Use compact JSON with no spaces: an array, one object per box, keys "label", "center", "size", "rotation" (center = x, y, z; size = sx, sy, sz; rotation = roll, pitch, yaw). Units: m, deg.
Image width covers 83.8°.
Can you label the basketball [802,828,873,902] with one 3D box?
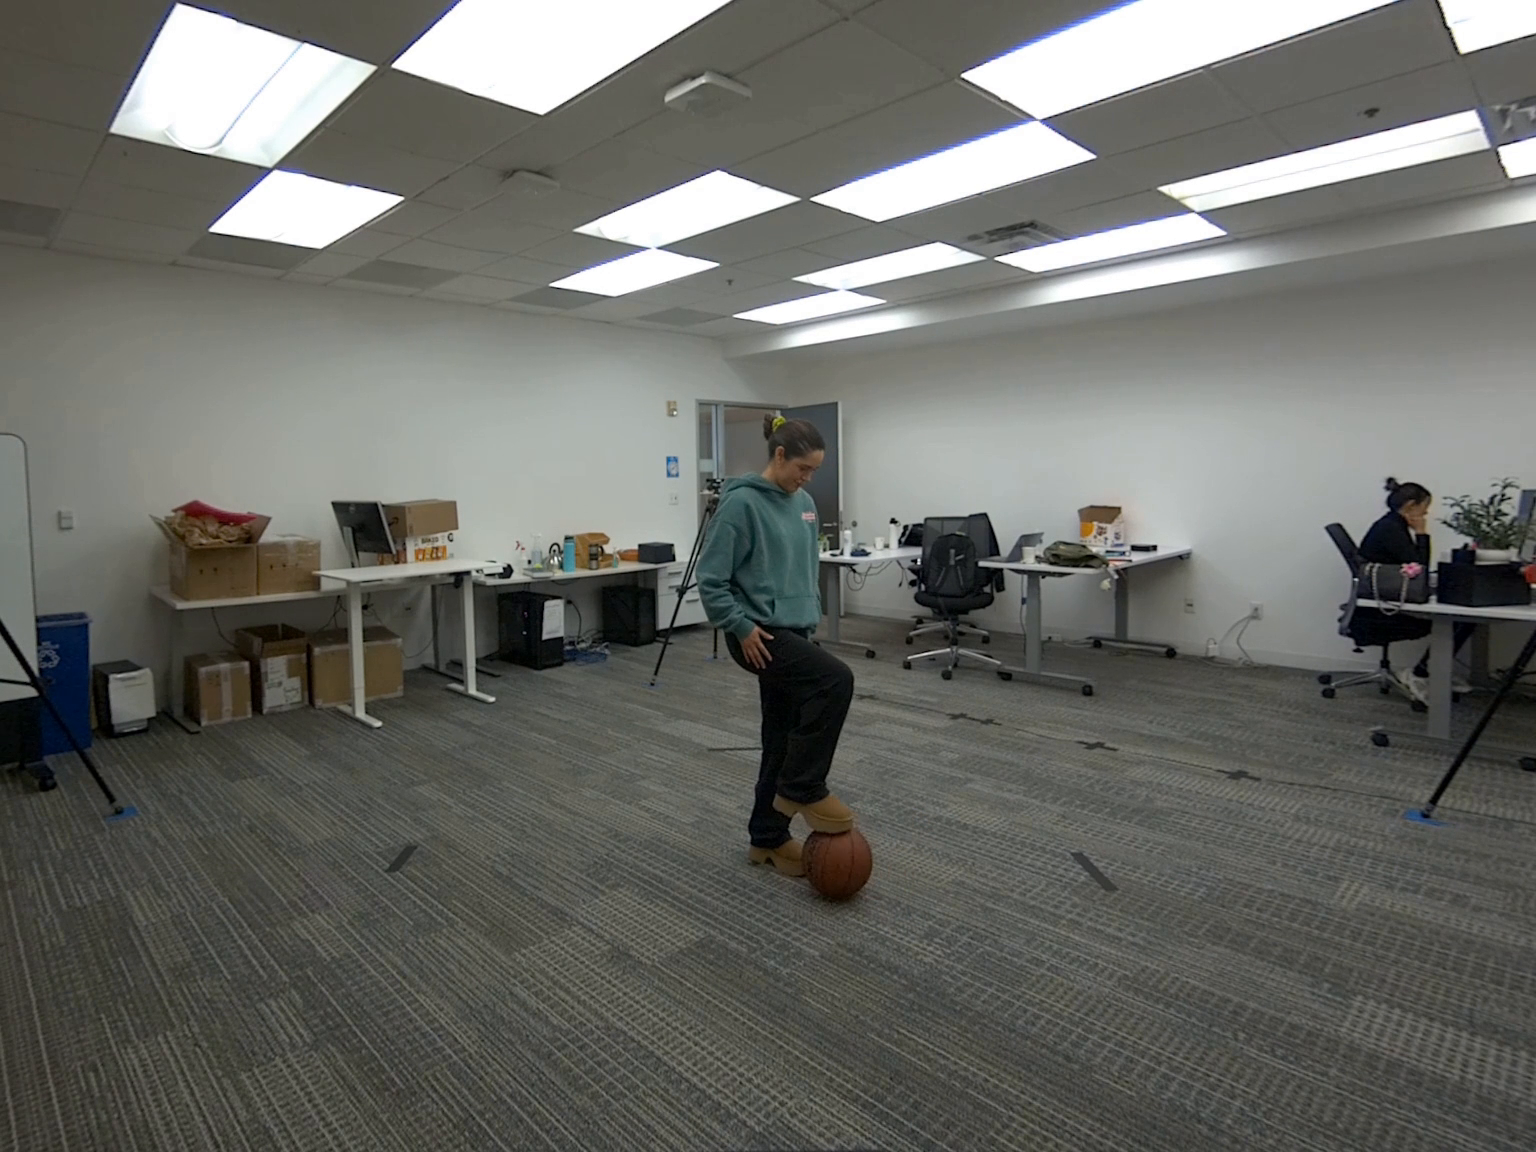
[{"label":"basketball","center":[0.243,0.948,2.858],"size":[0.236,0.235,0.237],"rotation":[-1,5,-2]}]
